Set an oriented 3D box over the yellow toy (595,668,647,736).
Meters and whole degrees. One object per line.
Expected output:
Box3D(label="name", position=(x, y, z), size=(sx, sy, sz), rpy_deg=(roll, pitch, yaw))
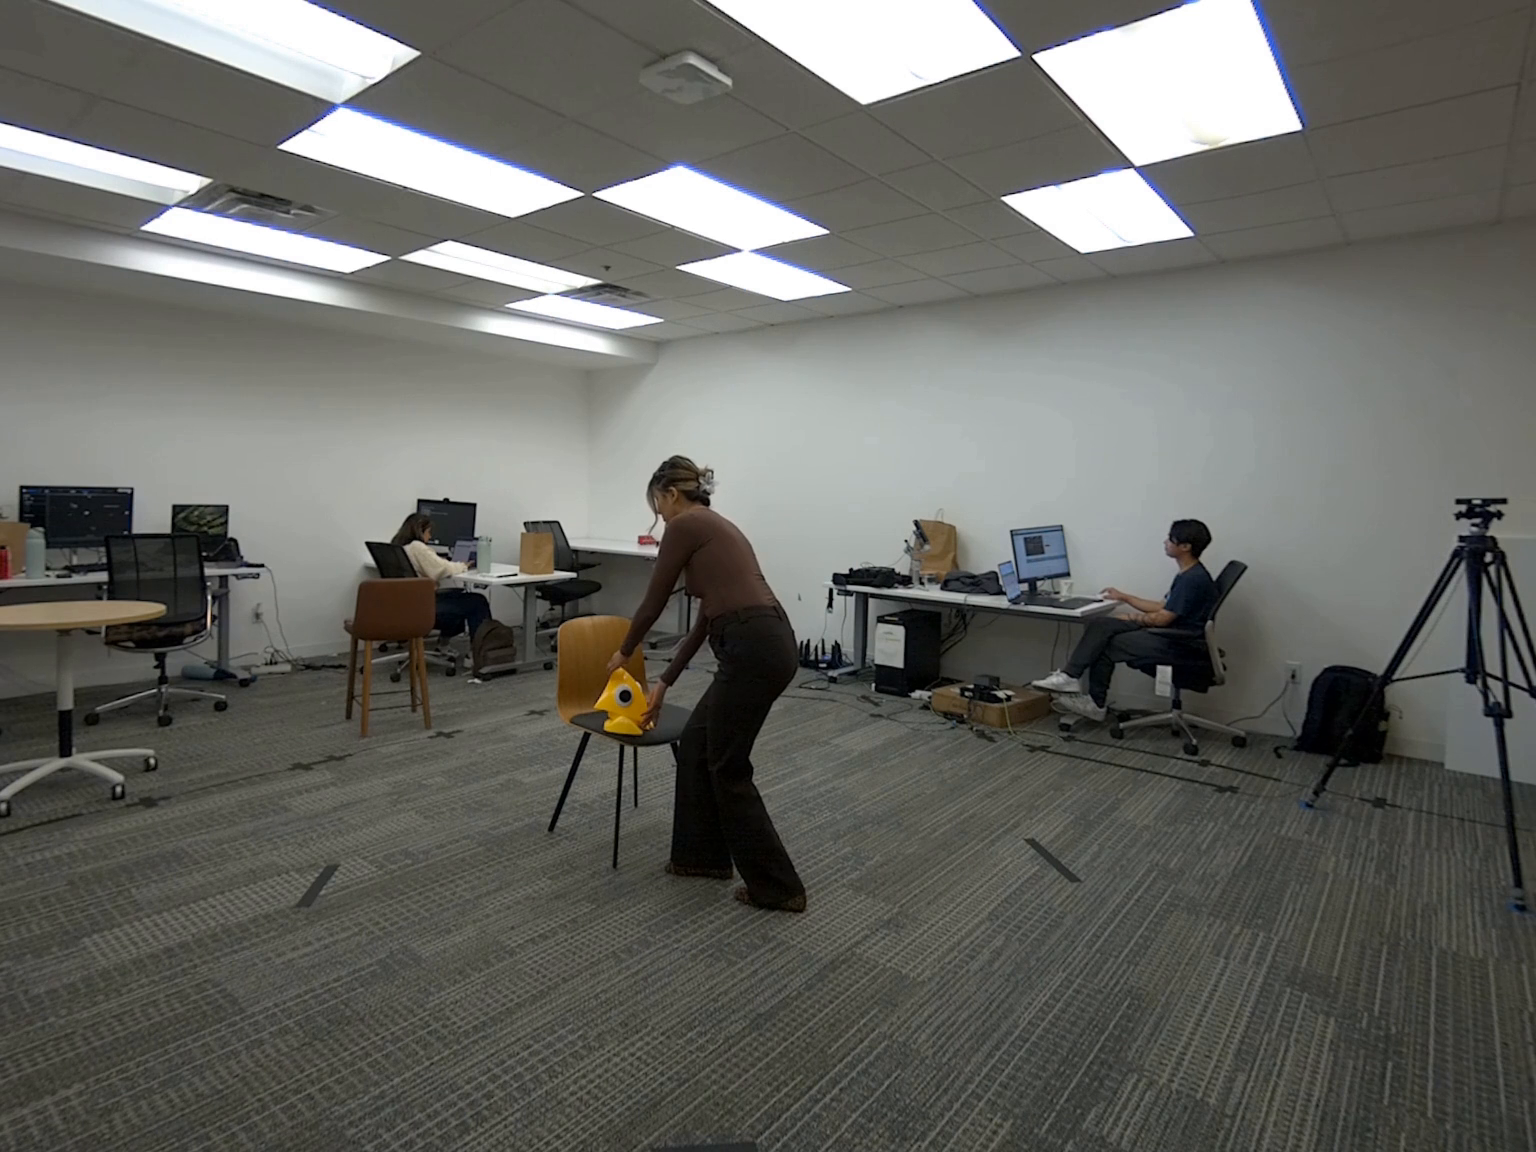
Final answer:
Box3D(label="yellow toy", position=(-0.537, 0.455, 3.189), size=(0.196, 0.231, 0.201), rpy_deg=(4, 0, 15))
